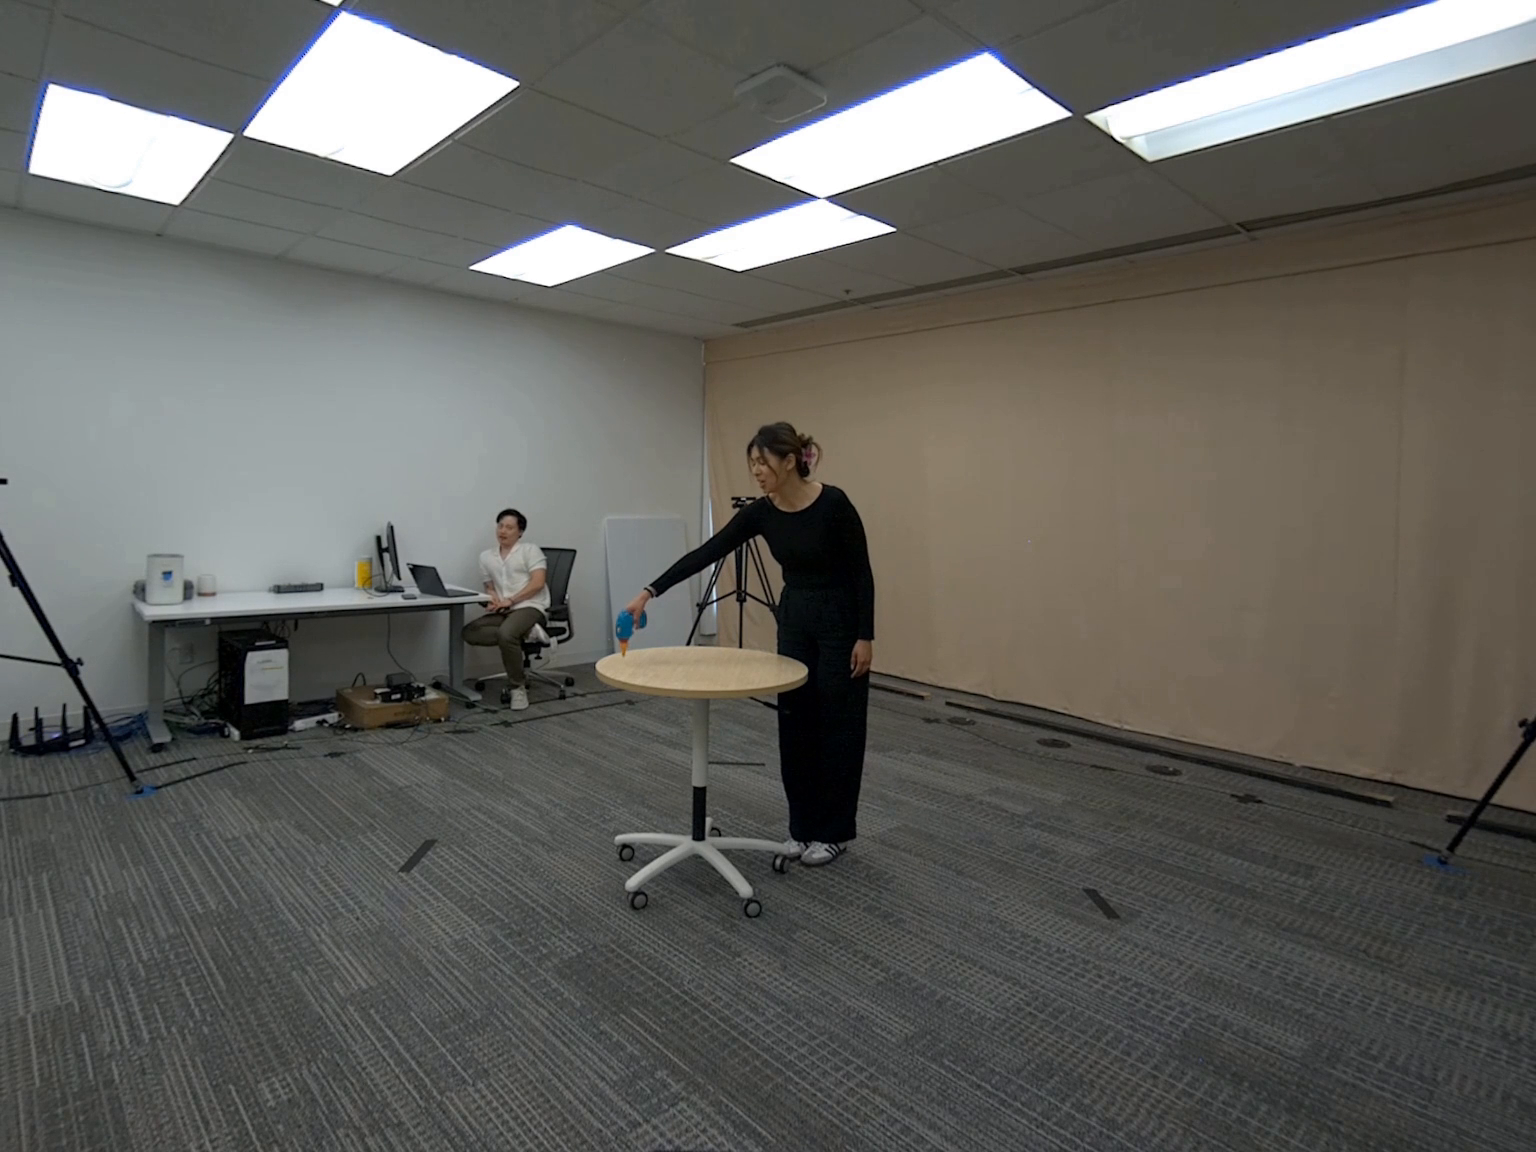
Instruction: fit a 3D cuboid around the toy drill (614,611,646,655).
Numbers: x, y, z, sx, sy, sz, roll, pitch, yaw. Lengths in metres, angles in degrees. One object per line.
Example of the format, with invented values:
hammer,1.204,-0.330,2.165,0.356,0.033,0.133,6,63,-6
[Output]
toy drill,-0.509,0.205,3.031,0.062,0.169,0.144,-1,4,23
